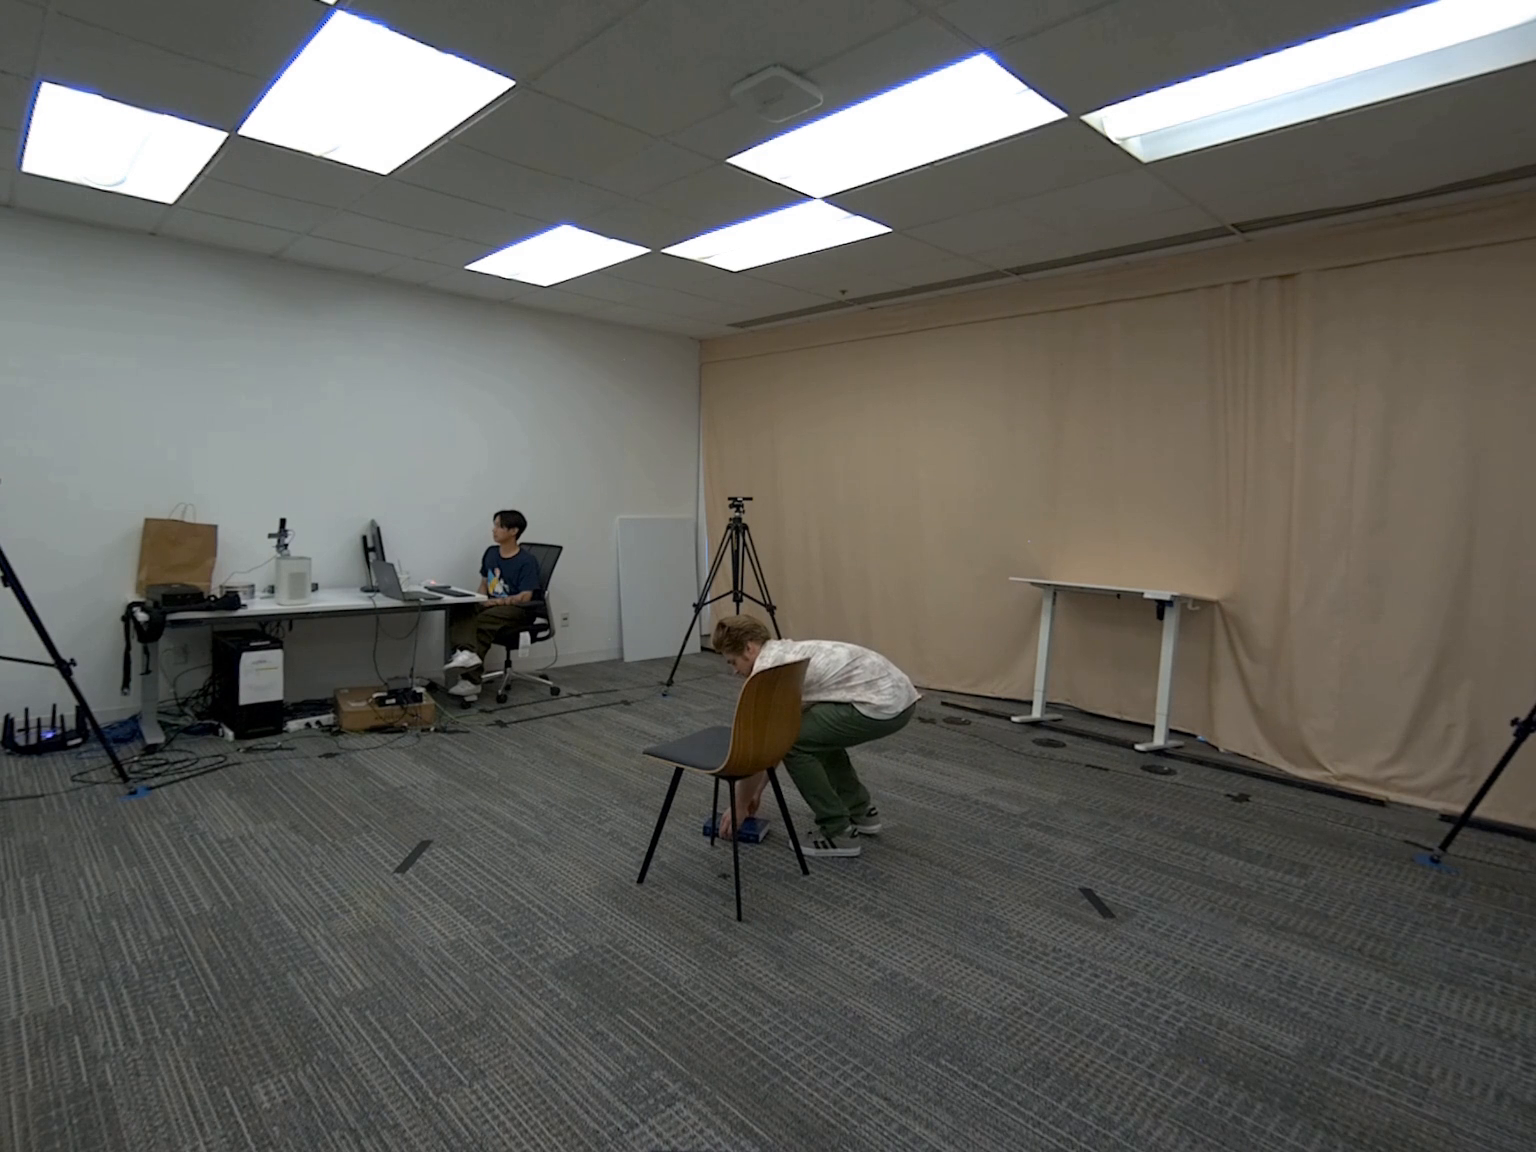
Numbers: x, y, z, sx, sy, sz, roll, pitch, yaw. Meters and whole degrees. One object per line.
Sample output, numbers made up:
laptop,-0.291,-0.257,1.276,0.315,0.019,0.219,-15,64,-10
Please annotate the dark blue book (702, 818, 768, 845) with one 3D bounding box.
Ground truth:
dark blue book,-0.132,1.048,3.516,0.249,0.045,0.161,2,5,18
